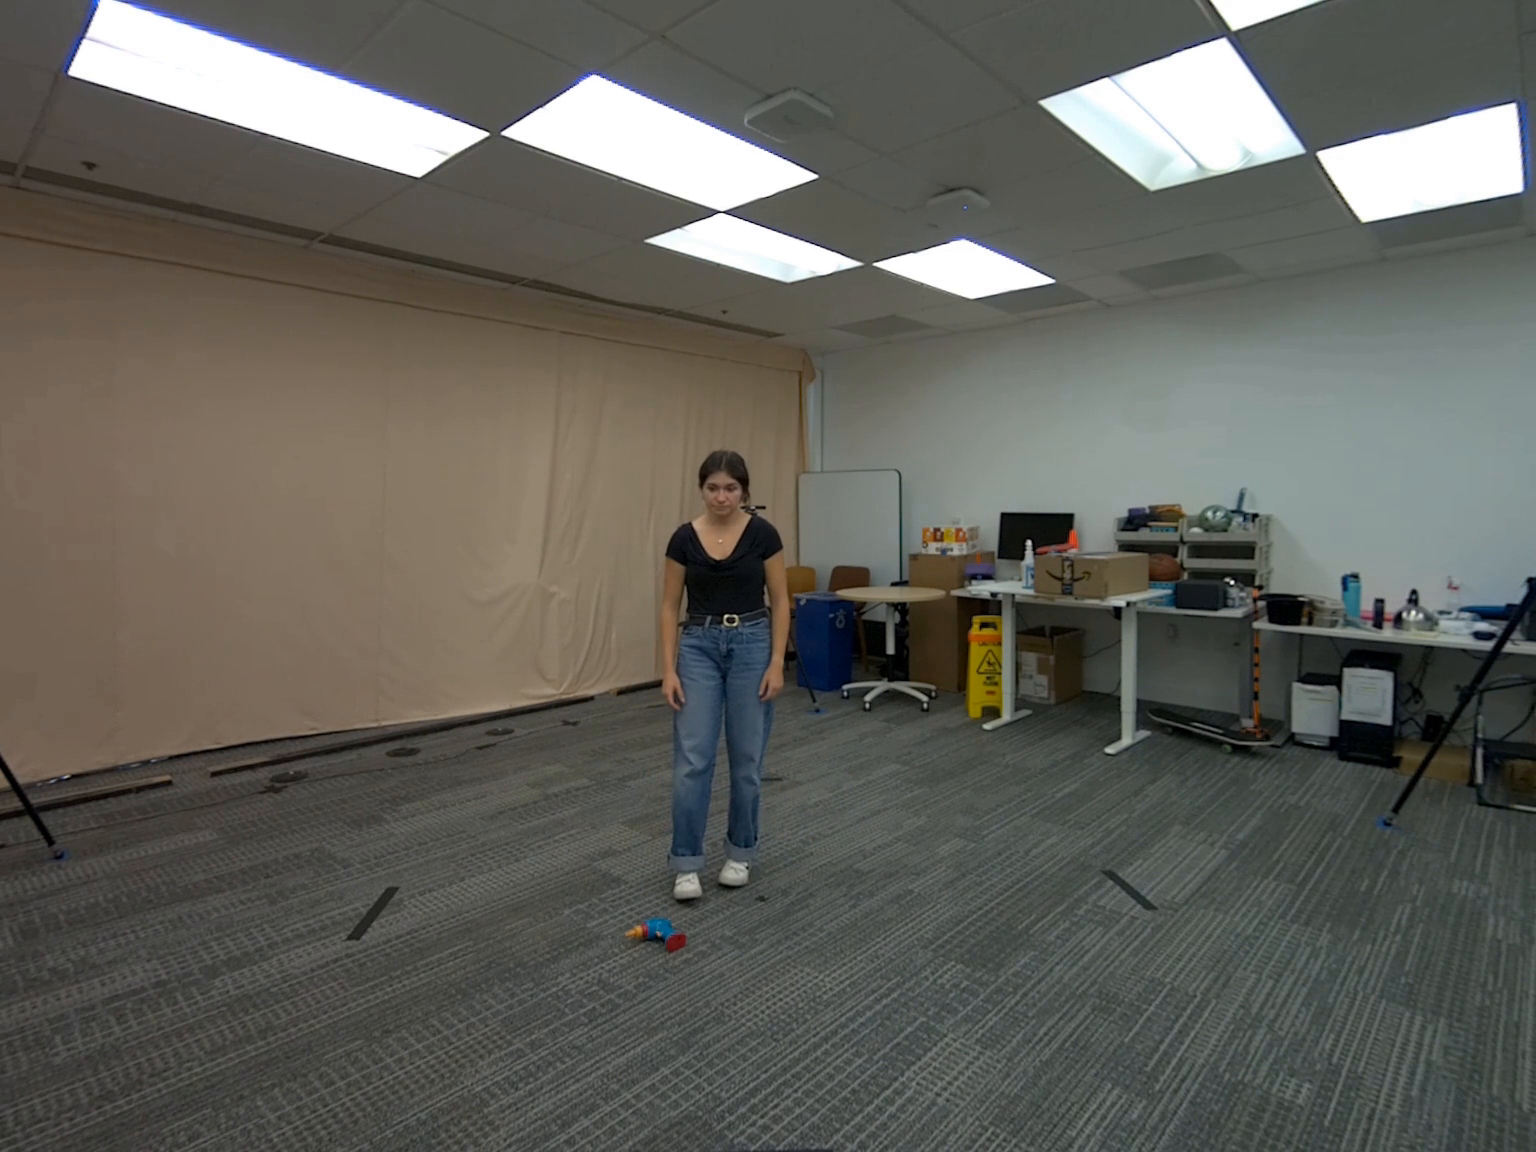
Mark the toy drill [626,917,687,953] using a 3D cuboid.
[{"bbox_3d":[-0.362,1.136,2.678,0.164,0.061,0.151,5,2,-35],"label":"toy drill"}]
